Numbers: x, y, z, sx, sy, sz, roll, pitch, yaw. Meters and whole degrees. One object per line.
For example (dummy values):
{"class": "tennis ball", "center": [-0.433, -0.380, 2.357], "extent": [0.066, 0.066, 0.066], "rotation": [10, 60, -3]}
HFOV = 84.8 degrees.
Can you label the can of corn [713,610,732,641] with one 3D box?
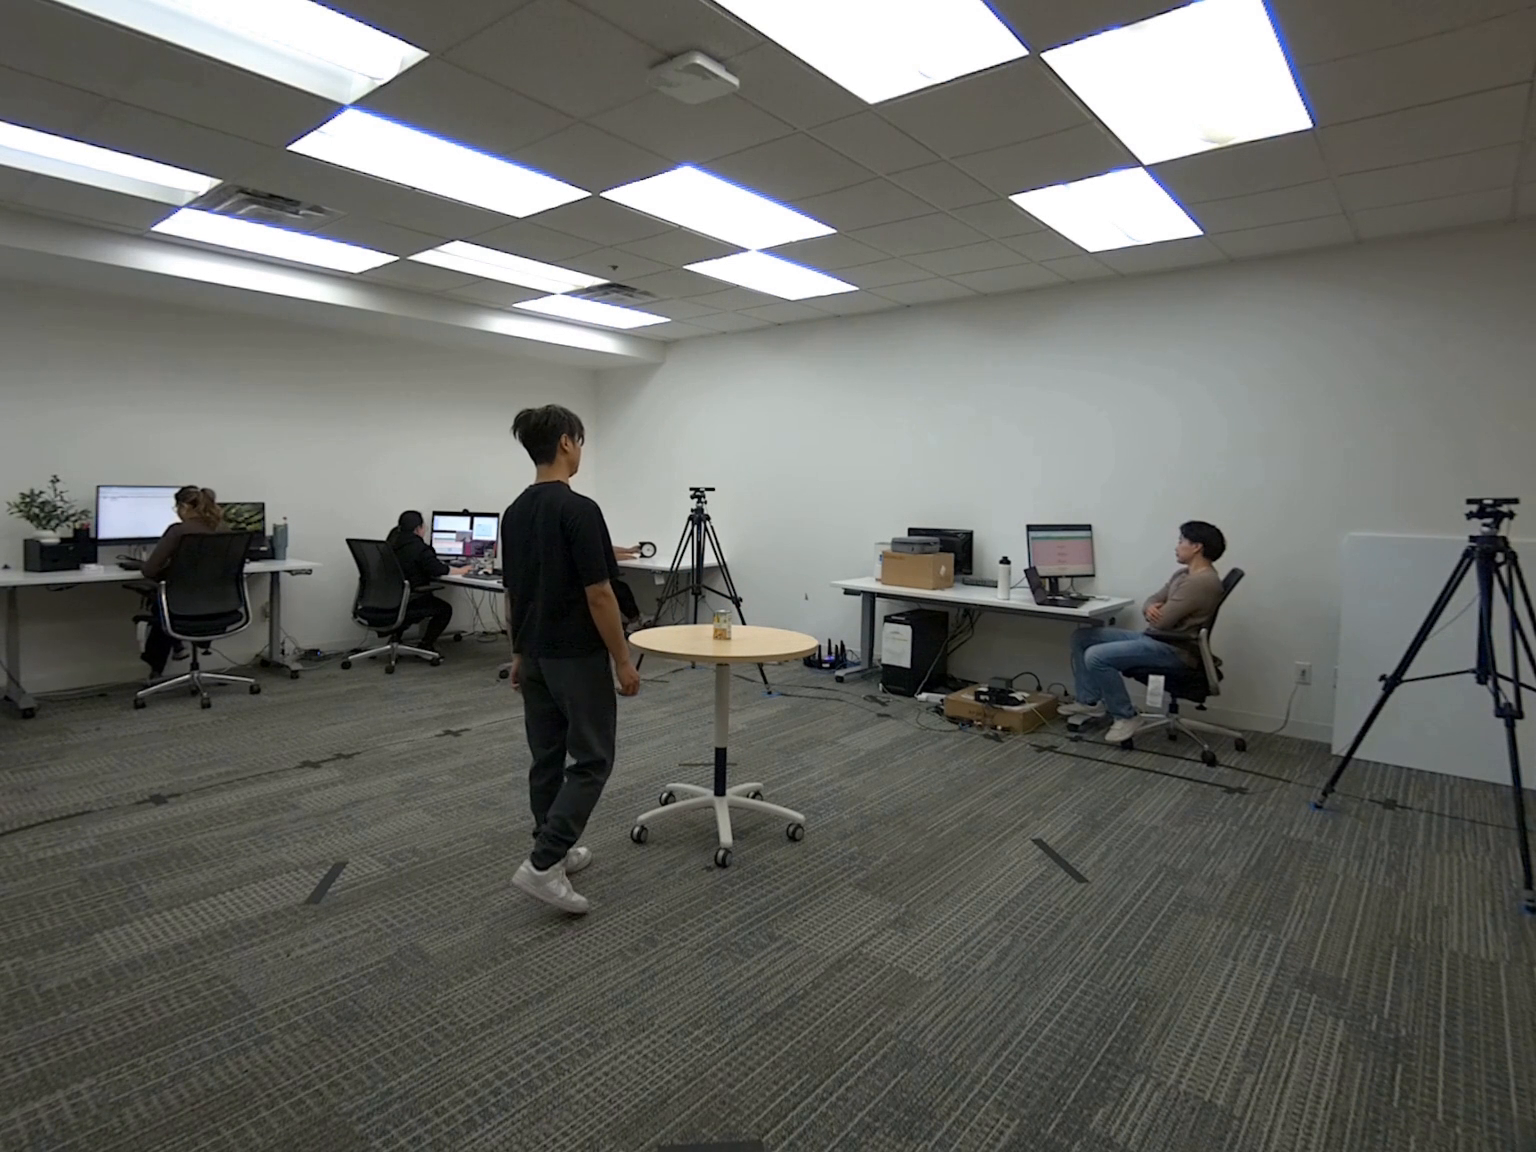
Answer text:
{"class": "can of corn", "center": [-0.198, 0.195, 3.454], "extent": [0.074, 0.111, 0.074], "rotation": [2, 2, -2]}
